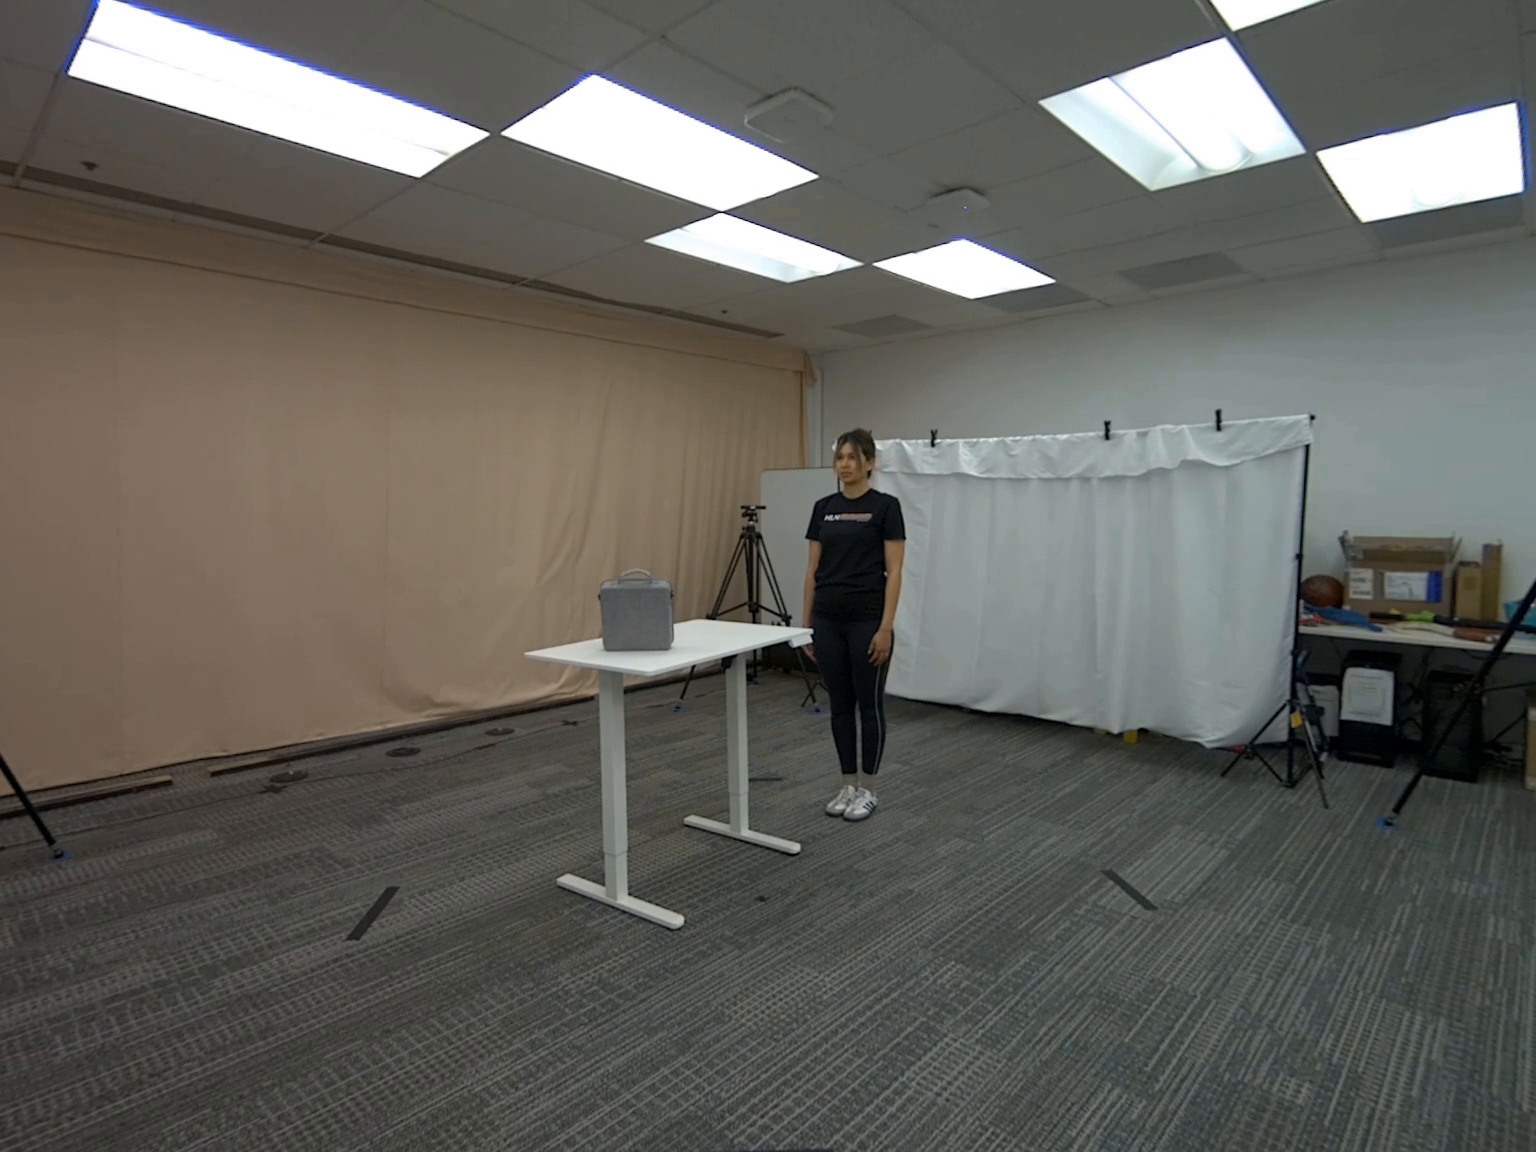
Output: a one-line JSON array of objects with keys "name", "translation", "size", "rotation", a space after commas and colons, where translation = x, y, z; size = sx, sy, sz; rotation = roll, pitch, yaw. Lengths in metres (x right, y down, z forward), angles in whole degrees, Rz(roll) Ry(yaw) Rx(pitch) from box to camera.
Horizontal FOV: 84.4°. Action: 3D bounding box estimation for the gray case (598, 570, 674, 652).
[{"name": "gray case", "translation": [-0.460, 0.133, 2.985], "size": [0.256, 0.258, 0.105], "rotation": [-2, 13, -2]}]
